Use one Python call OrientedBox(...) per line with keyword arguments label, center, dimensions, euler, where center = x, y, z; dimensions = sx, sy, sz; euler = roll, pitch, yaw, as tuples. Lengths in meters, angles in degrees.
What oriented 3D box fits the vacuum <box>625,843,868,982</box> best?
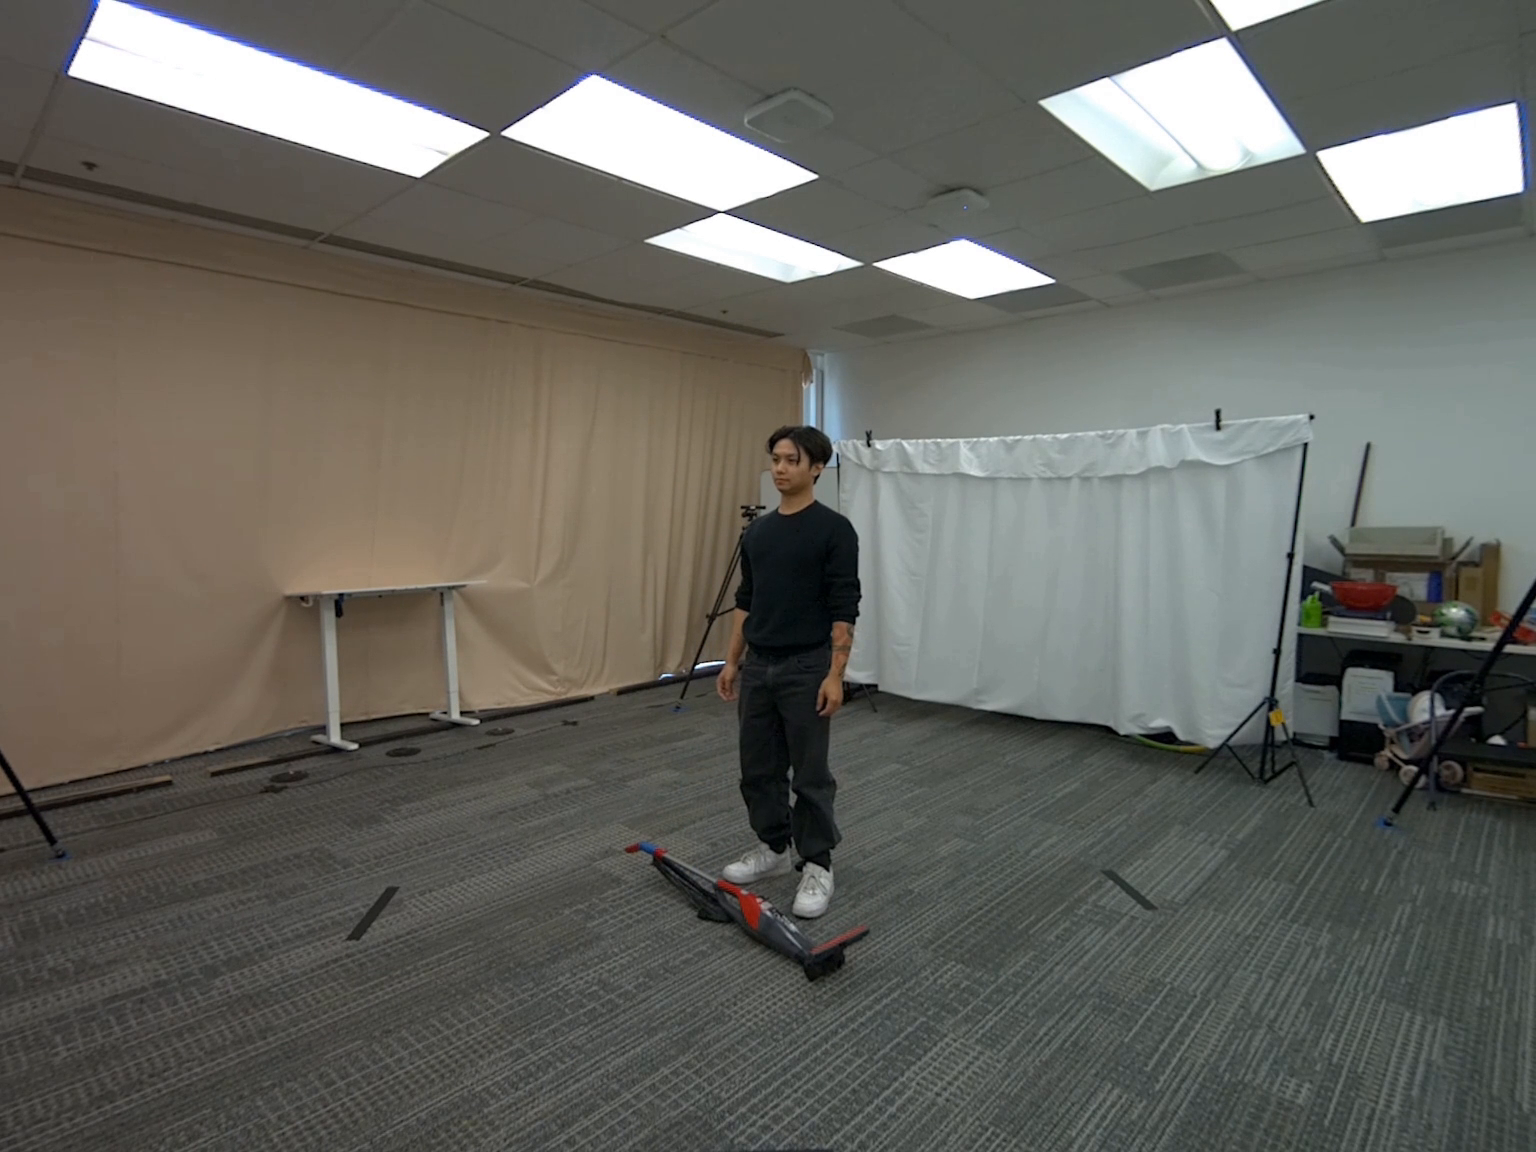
OrientedBox(label="vacuum", center=(-0.180, 1.089, 2.869), dimensions=(0.244, 0.144, 1.084), euler=(1, 2, -44))
